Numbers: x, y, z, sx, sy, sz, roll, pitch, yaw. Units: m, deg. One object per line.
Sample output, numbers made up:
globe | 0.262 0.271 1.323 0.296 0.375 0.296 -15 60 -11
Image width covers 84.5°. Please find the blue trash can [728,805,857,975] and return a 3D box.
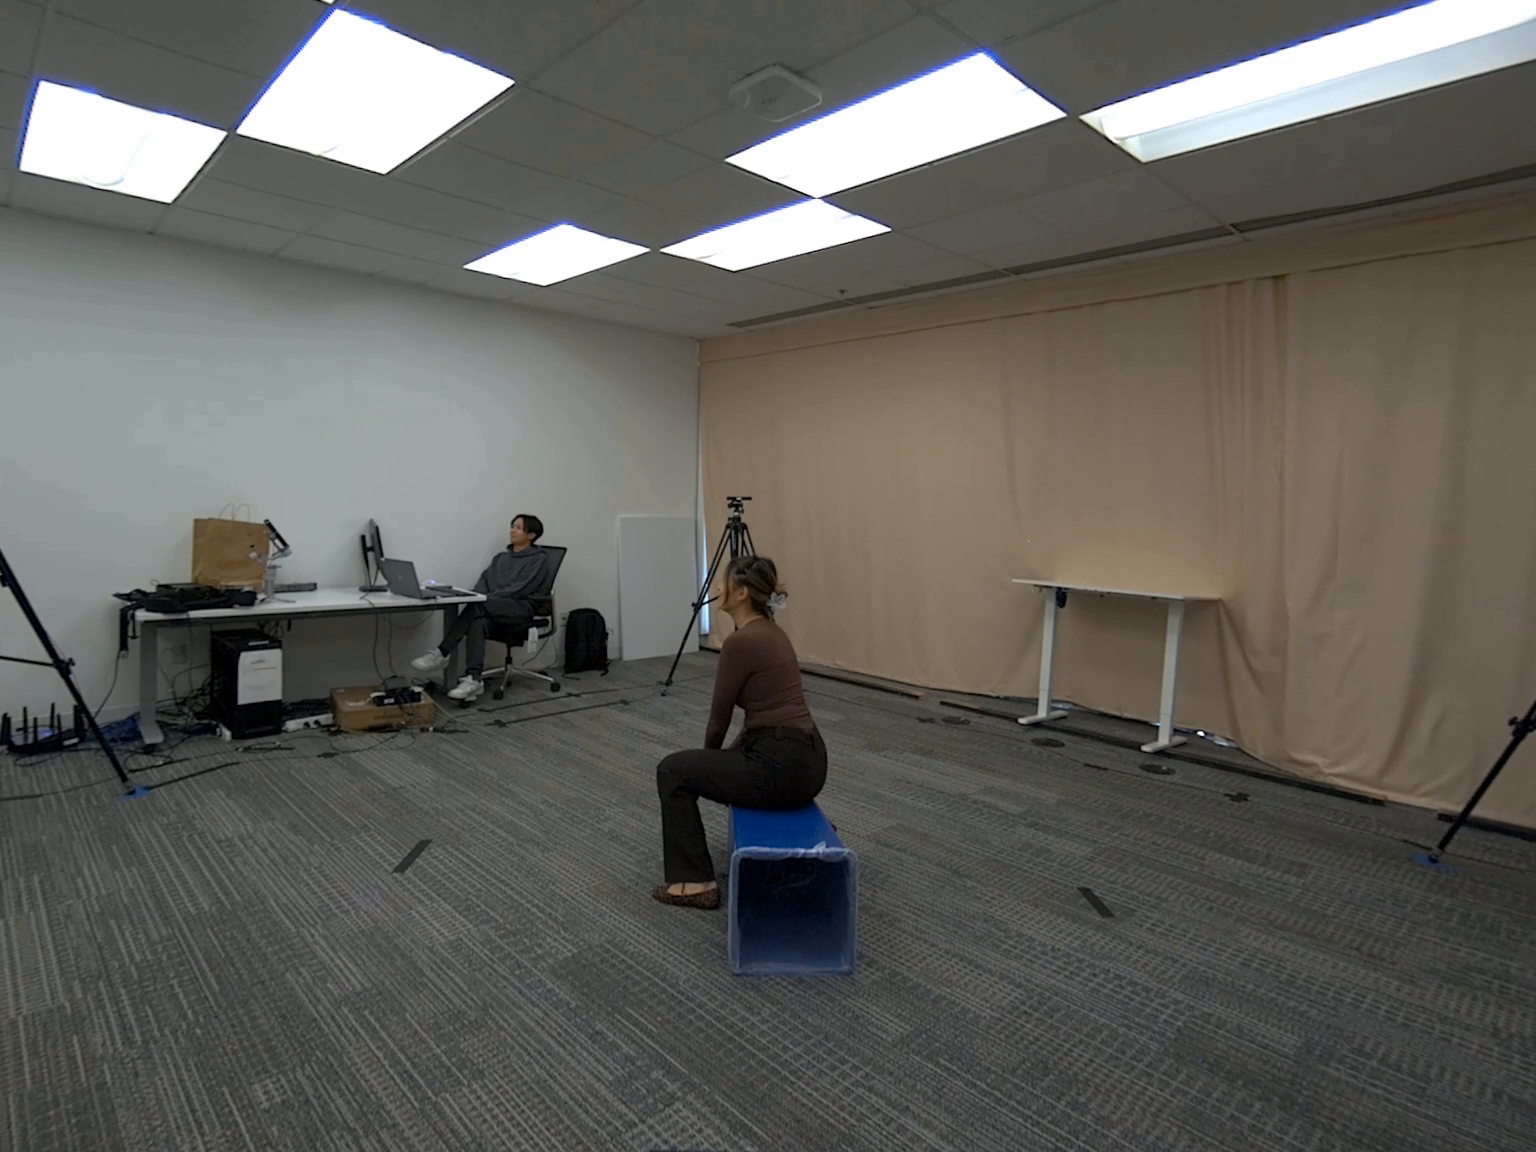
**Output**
blue trash can | 0.019 0.970 2.806 0.372 0.378 0.718 0 2 -7
